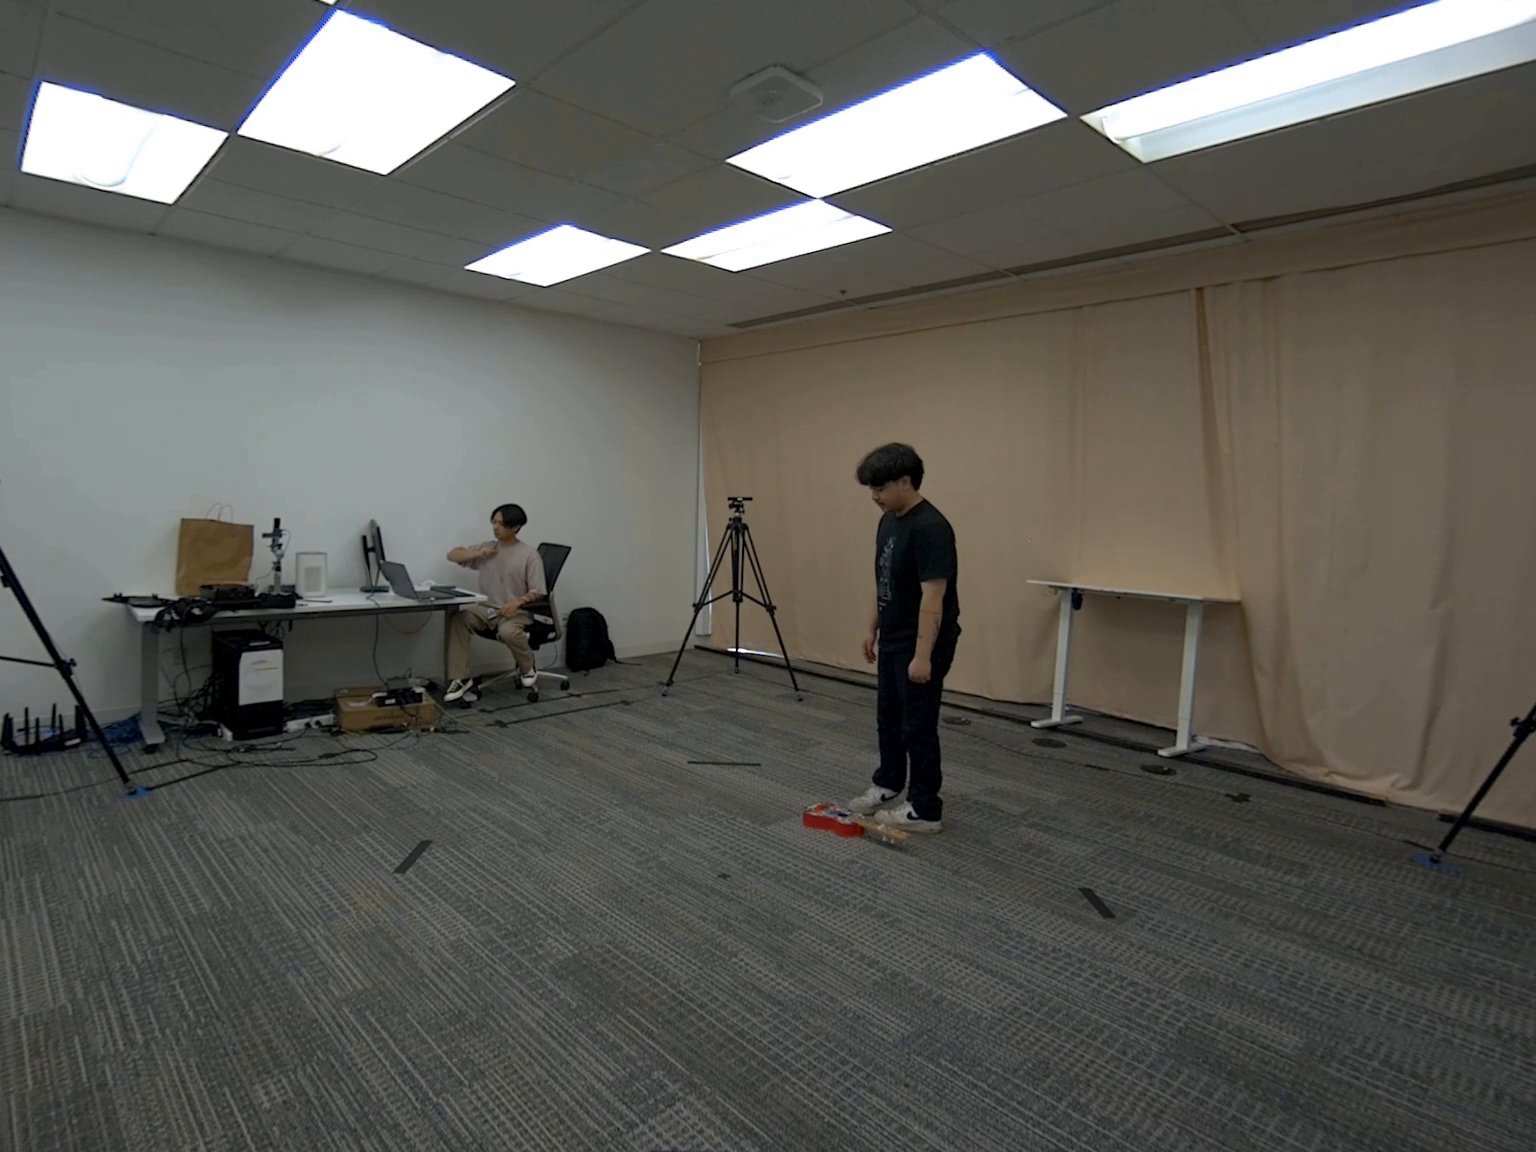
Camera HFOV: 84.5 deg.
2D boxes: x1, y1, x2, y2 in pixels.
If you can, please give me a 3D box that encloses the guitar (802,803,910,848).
[{"bbox_3d":[0.345,1.051,3.519,0.189,0.070,0.510,-2,5,-38],"label":"guitar"}]
